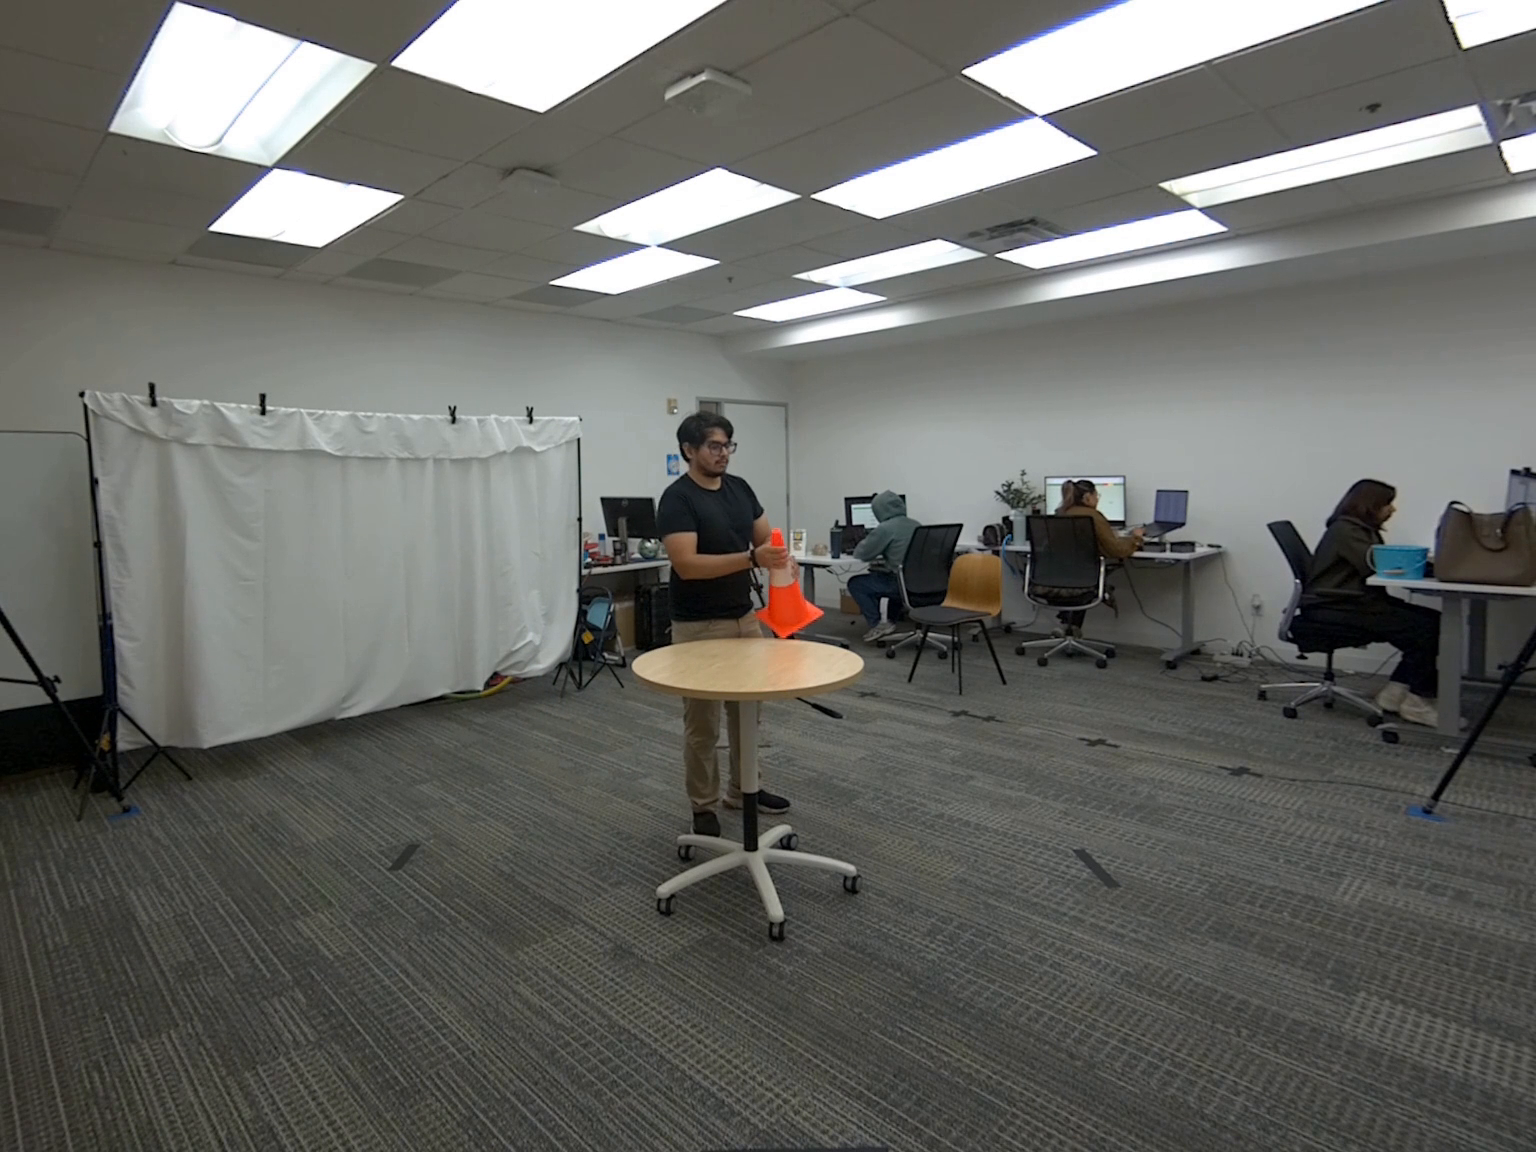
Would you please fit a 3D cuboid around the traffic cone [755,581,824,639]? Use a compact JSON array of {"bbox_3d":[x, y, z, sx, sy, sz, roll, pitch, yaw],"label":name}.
[{"bbox_3d":[0.055,0.000,3.156,0.201,0.373,0.213,-26,35,-23],"label":"traffic cone"}]
